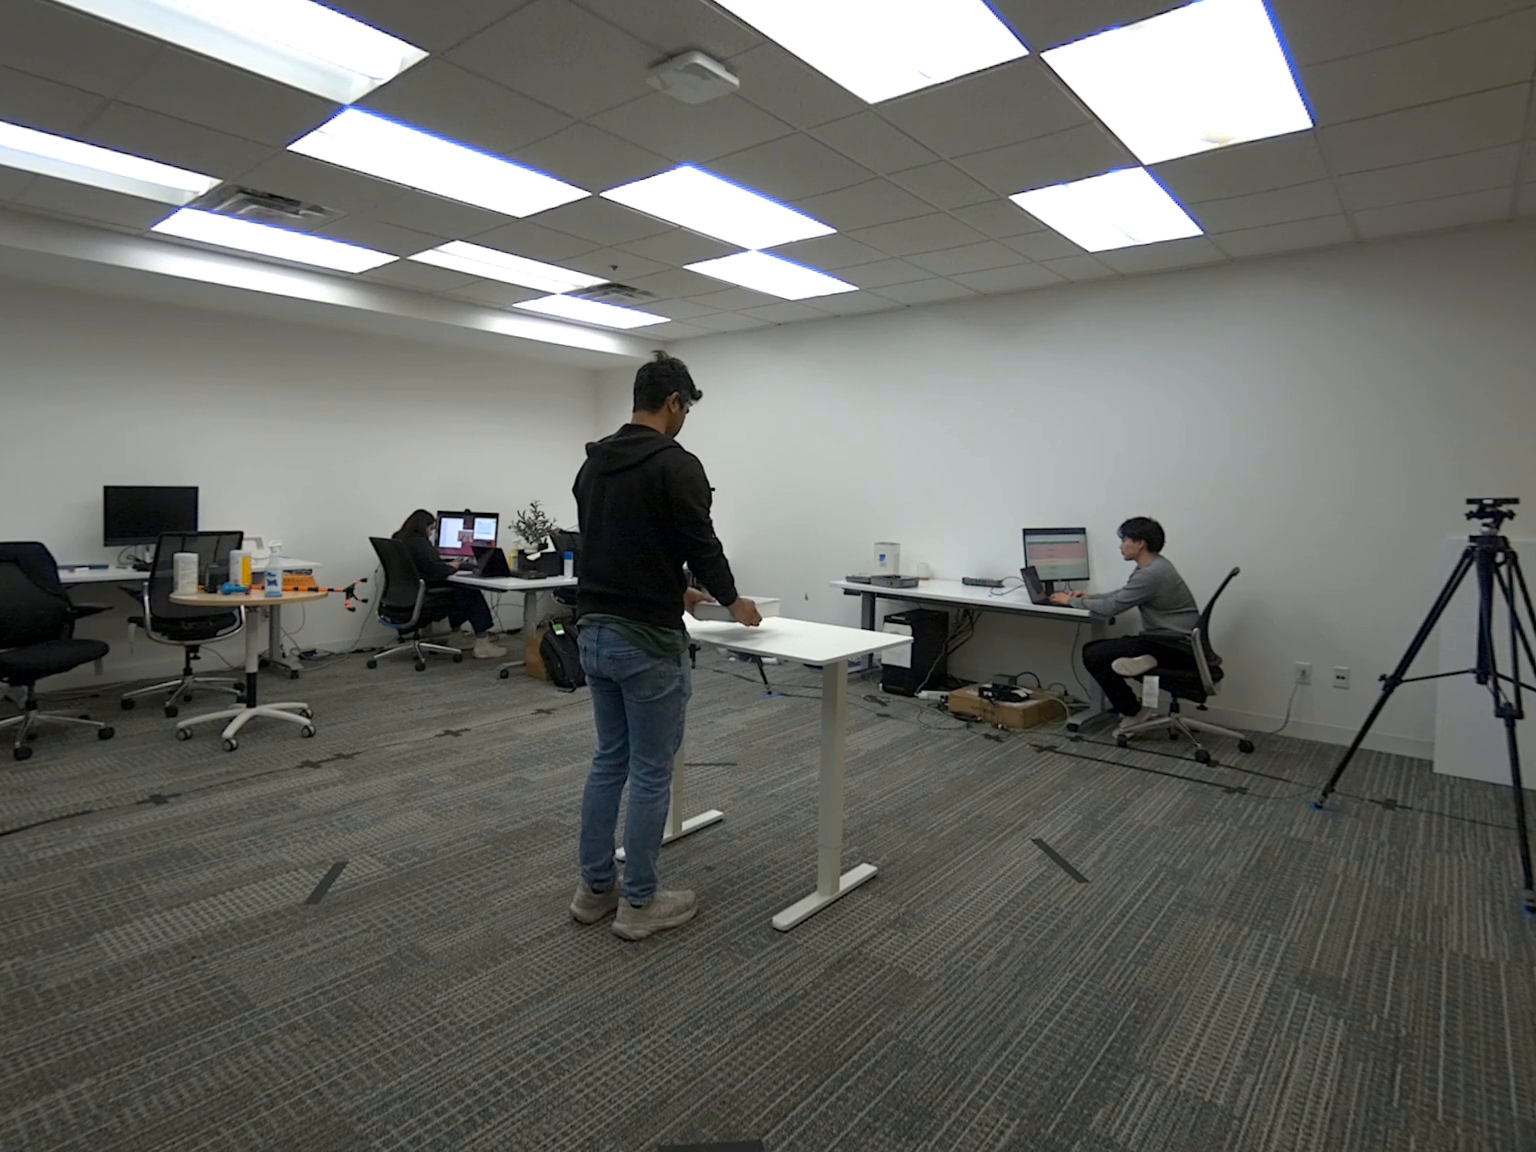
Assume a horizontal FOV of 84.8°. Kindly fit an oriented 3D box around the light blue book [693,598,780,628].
[{"bbox_3d":[-0.118,0.118,3.008,0.198,0.059,0.254,4,7,38],"label":"light blue book"}]
